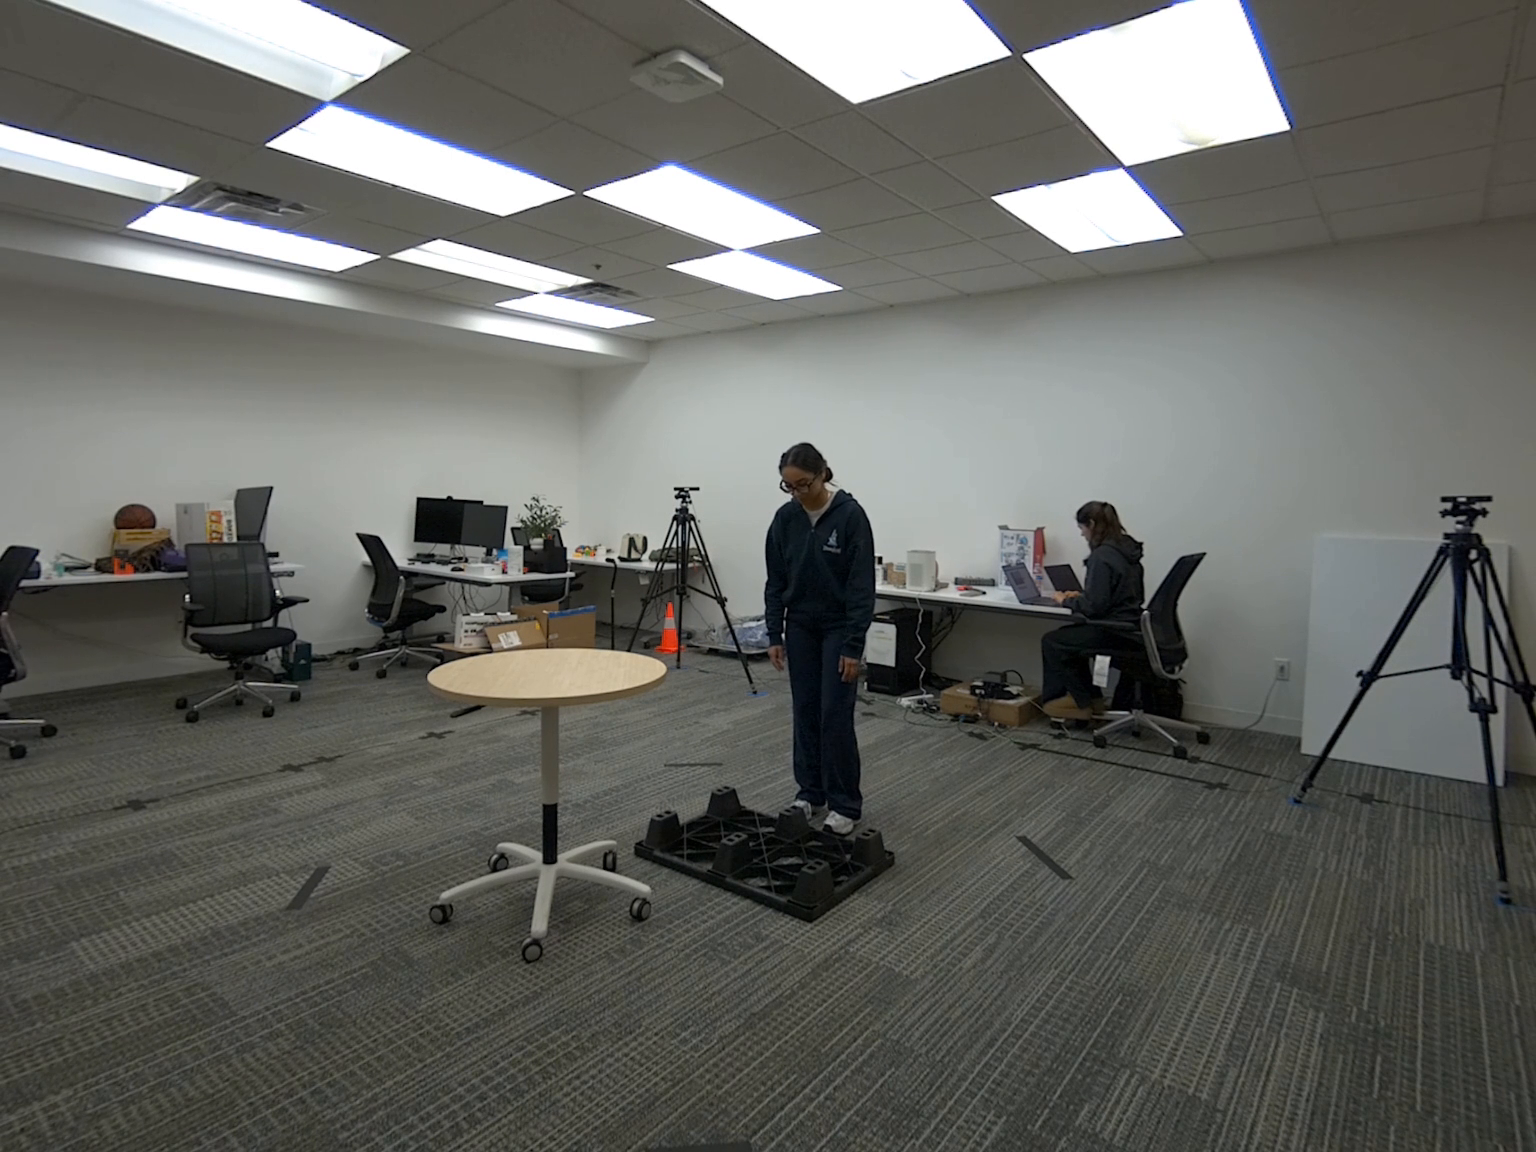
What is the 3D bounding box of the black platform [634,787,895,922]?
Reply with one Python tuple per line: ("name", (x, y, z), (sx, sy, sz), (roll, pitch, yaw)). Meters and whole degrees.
("black platform", (-0.032, 0.996, 3.199), (0.832, 0.143, 0.588), (5, 6, 36))
